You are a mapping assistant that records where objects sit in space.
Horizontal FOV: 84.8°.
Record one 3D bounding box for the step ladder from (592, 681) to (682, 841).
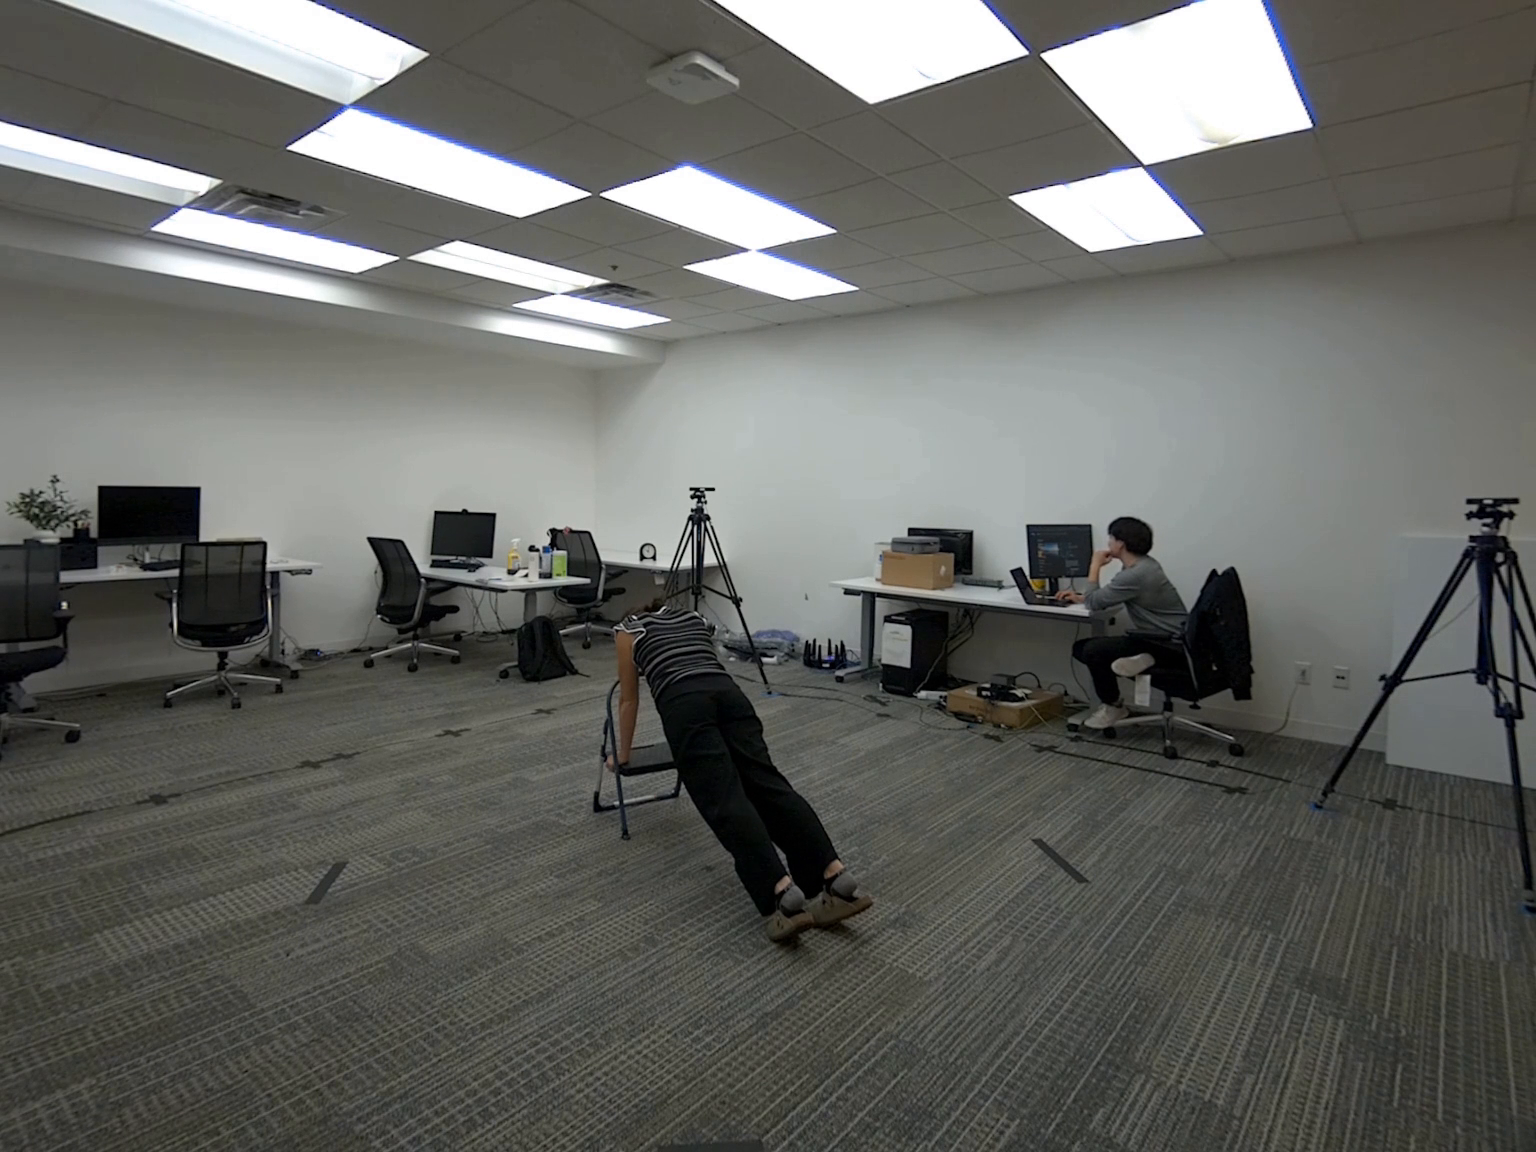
[{"bbox_3d":[-0.496,0.714,3.594,0.418,0.605,0.360,-1,3,-33],"label":"step ladder"}]
